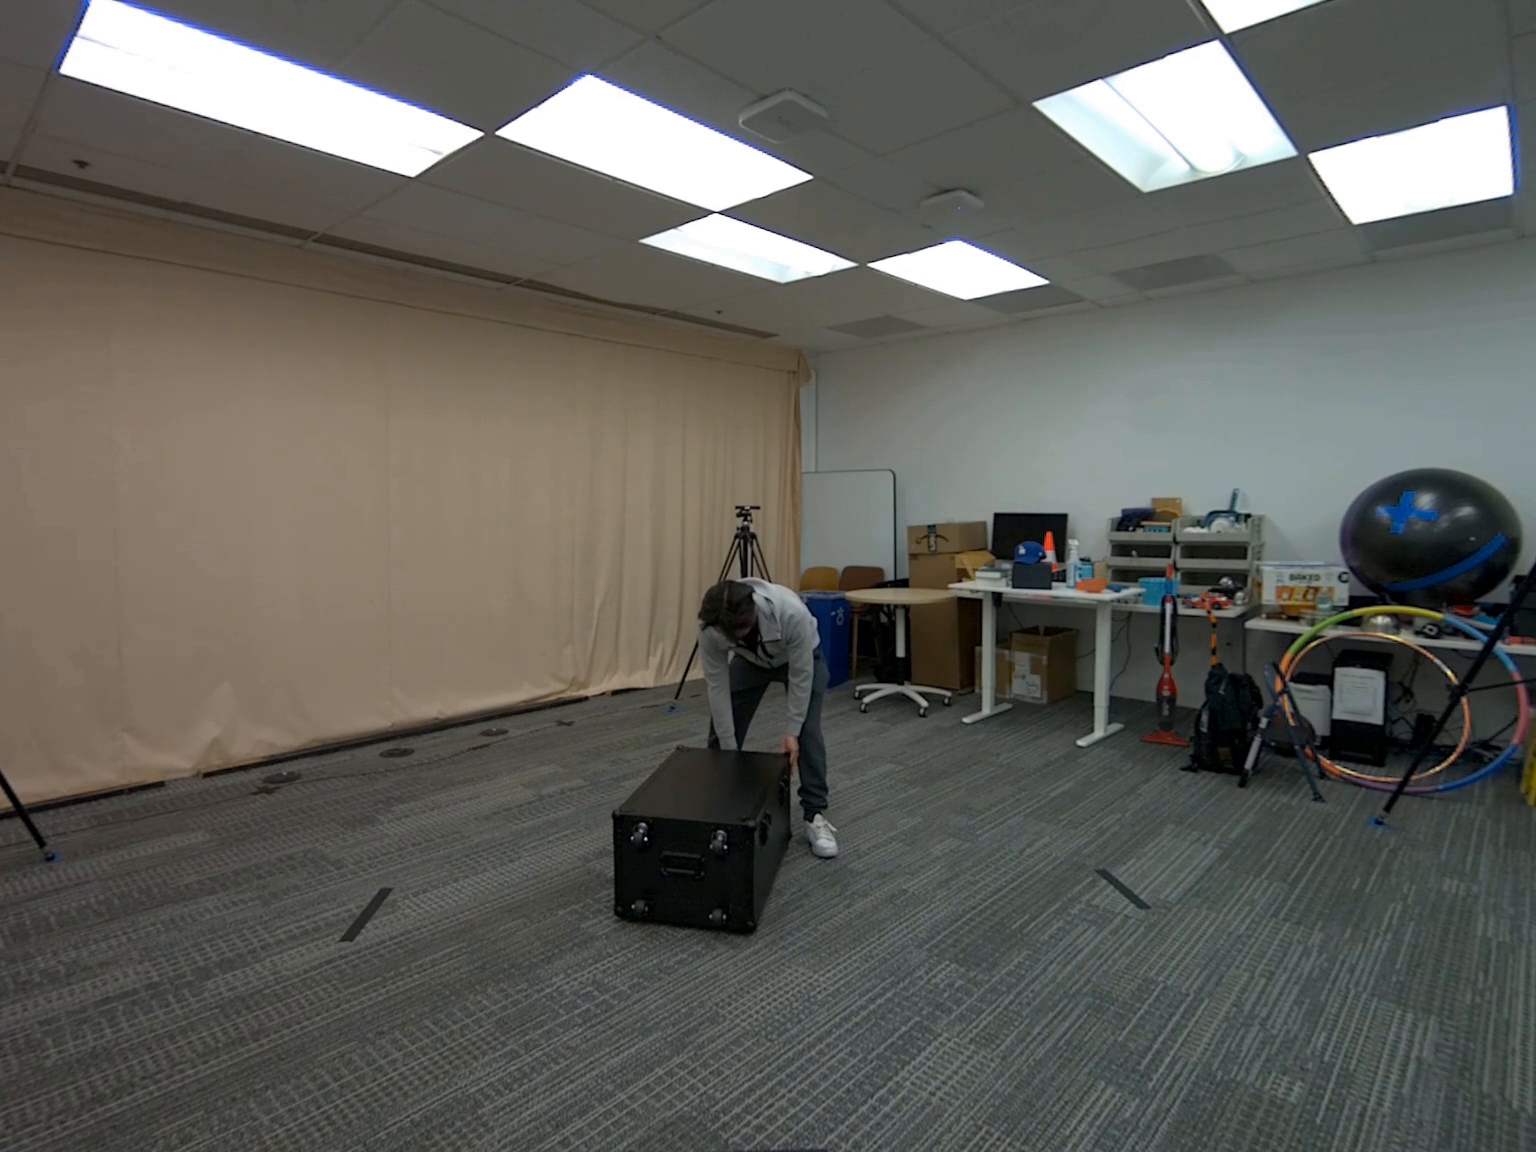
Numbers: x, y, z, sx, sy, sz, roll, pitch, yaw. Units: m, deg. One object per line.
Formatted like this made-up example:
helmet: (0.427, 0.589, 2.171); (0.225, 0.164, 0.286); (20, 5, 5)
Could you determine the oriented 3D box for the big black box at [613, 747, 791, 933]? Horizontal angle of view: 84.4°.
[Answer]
big black box: (-0.223, 0.942, 3.098); (0.528, 0.395, 0.851); (0, 4, 11)
